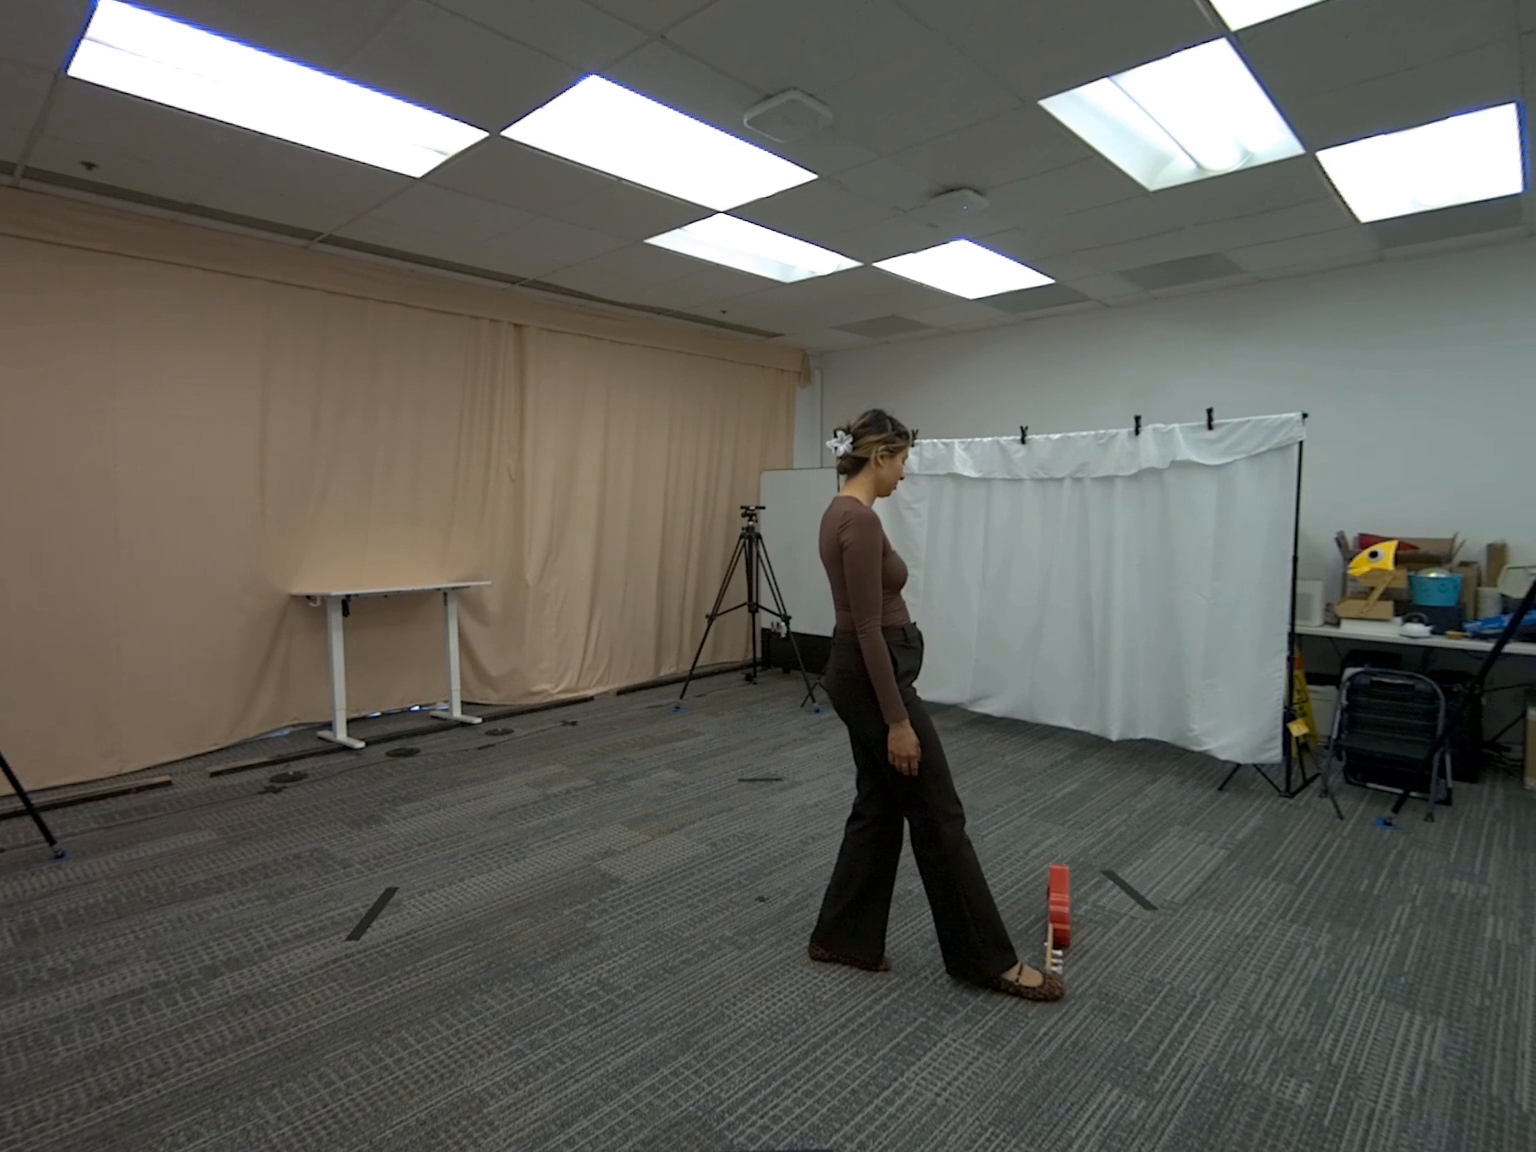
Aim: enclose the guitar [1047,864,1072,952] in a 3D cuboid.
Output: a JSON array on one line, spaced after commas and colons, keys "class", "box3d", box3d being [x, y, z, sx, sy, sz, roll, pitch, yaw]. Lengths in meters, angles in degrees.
[{"class": "guitar", "box3d": [0.922, 1.134, 2.649, 0.072, 0.190, 0.494, -1, 22, 20]}]
